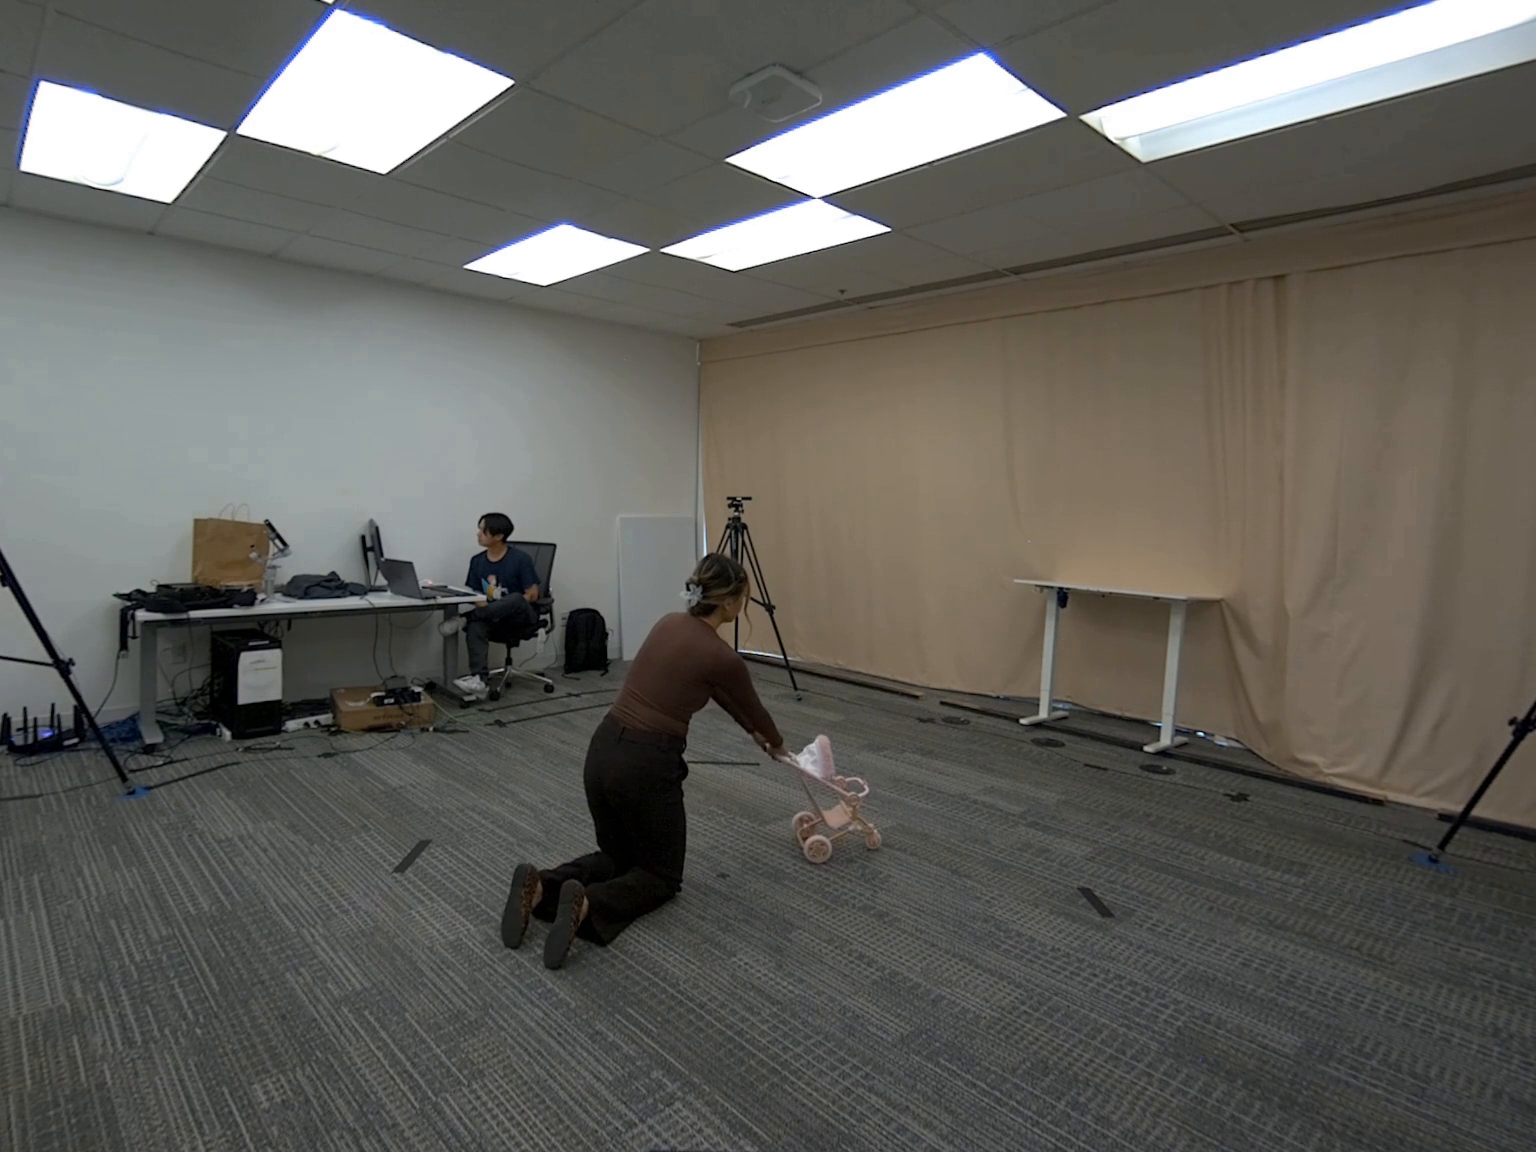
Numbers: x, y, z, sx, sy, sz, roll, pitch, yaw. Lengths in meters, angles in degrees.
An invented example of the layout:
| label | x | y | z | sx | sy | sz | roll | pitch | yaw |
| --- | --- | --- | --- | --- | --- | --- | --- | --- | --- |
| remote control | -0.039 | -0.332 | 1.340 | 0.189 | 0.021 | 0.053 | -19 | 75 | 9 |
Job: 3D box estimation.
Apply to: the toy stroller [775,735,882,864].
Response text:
| label | x | y | z | sx | sy | sz | roll | pitch | yaw |
| --- | --- | --- | --- | --- | --- | --- | --- | --- | --- |
| toy stroller | 0.219 | 0.866 | 3.343 | 0.341 | 0.533 | 0.283 | -16 | 5 | -2 |
